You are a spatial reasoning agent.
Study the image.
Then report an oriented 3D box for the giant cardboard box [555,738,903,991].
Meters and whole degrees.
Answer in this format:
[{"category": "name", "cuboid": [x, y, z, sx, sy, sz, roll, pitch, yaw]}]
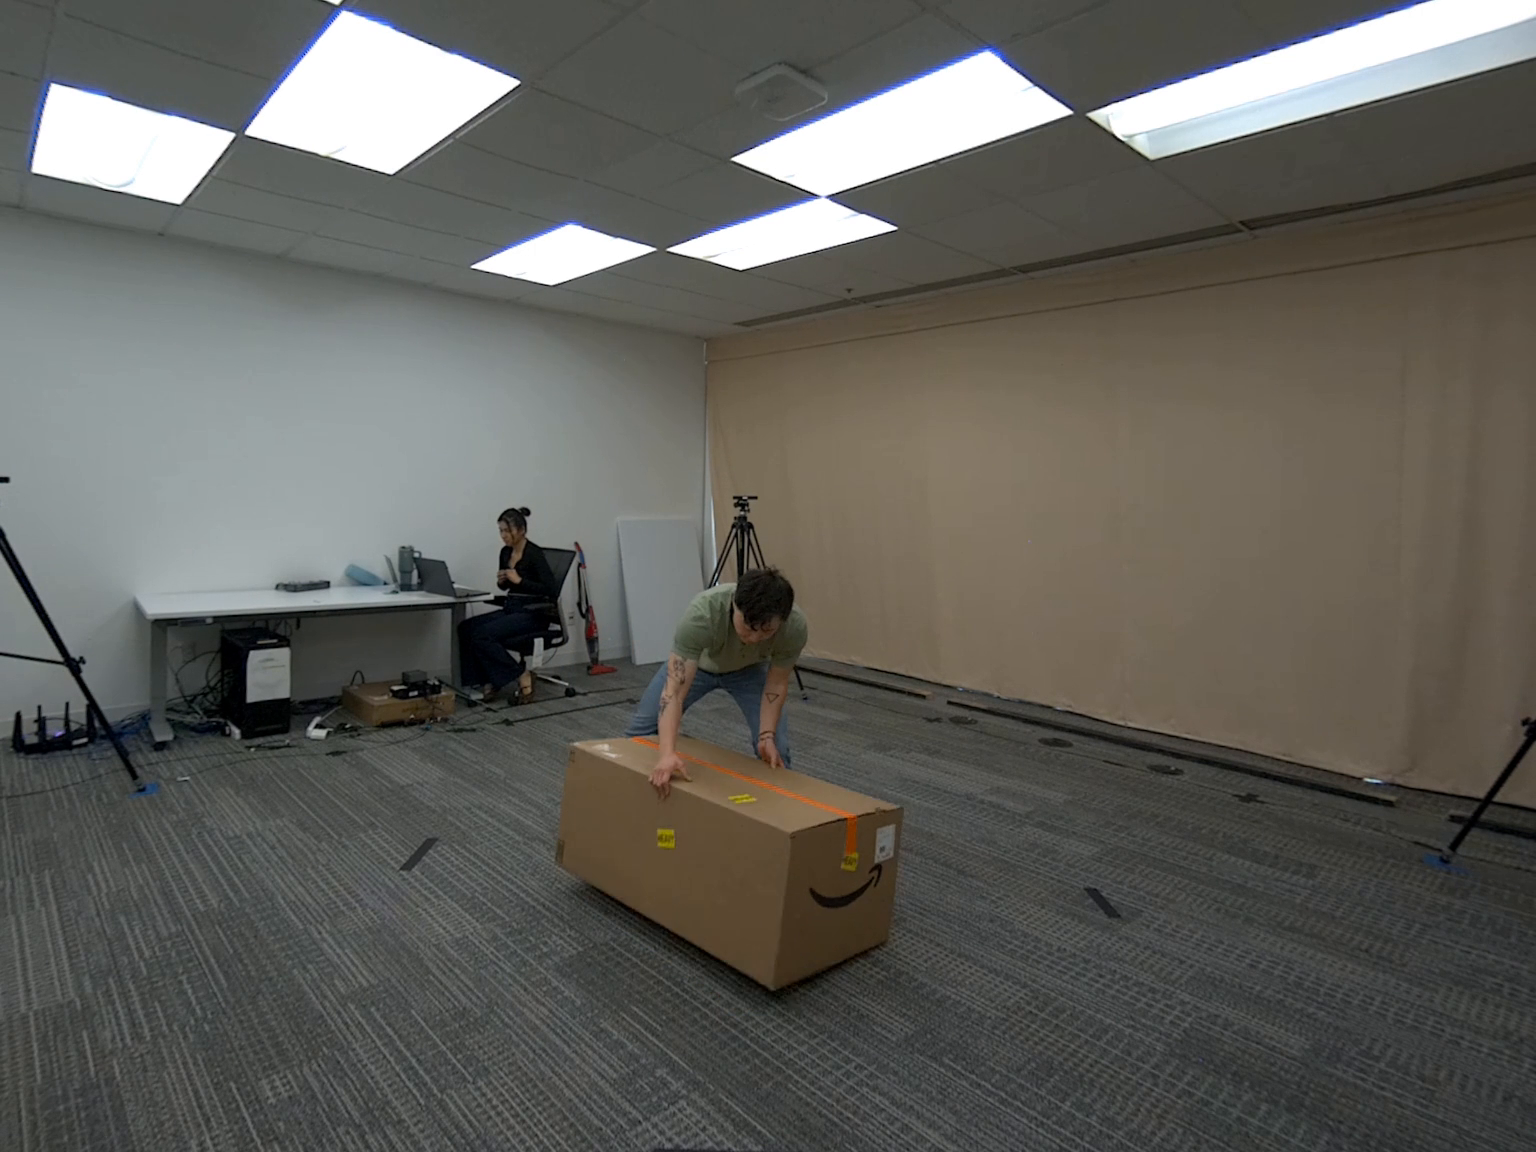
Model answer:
[{"category": "giant cardboard box", "cuboid": [-0.161, 0.857, 2.792, 1.053, 0.426, 0.562, 7, 0, 42]}]
